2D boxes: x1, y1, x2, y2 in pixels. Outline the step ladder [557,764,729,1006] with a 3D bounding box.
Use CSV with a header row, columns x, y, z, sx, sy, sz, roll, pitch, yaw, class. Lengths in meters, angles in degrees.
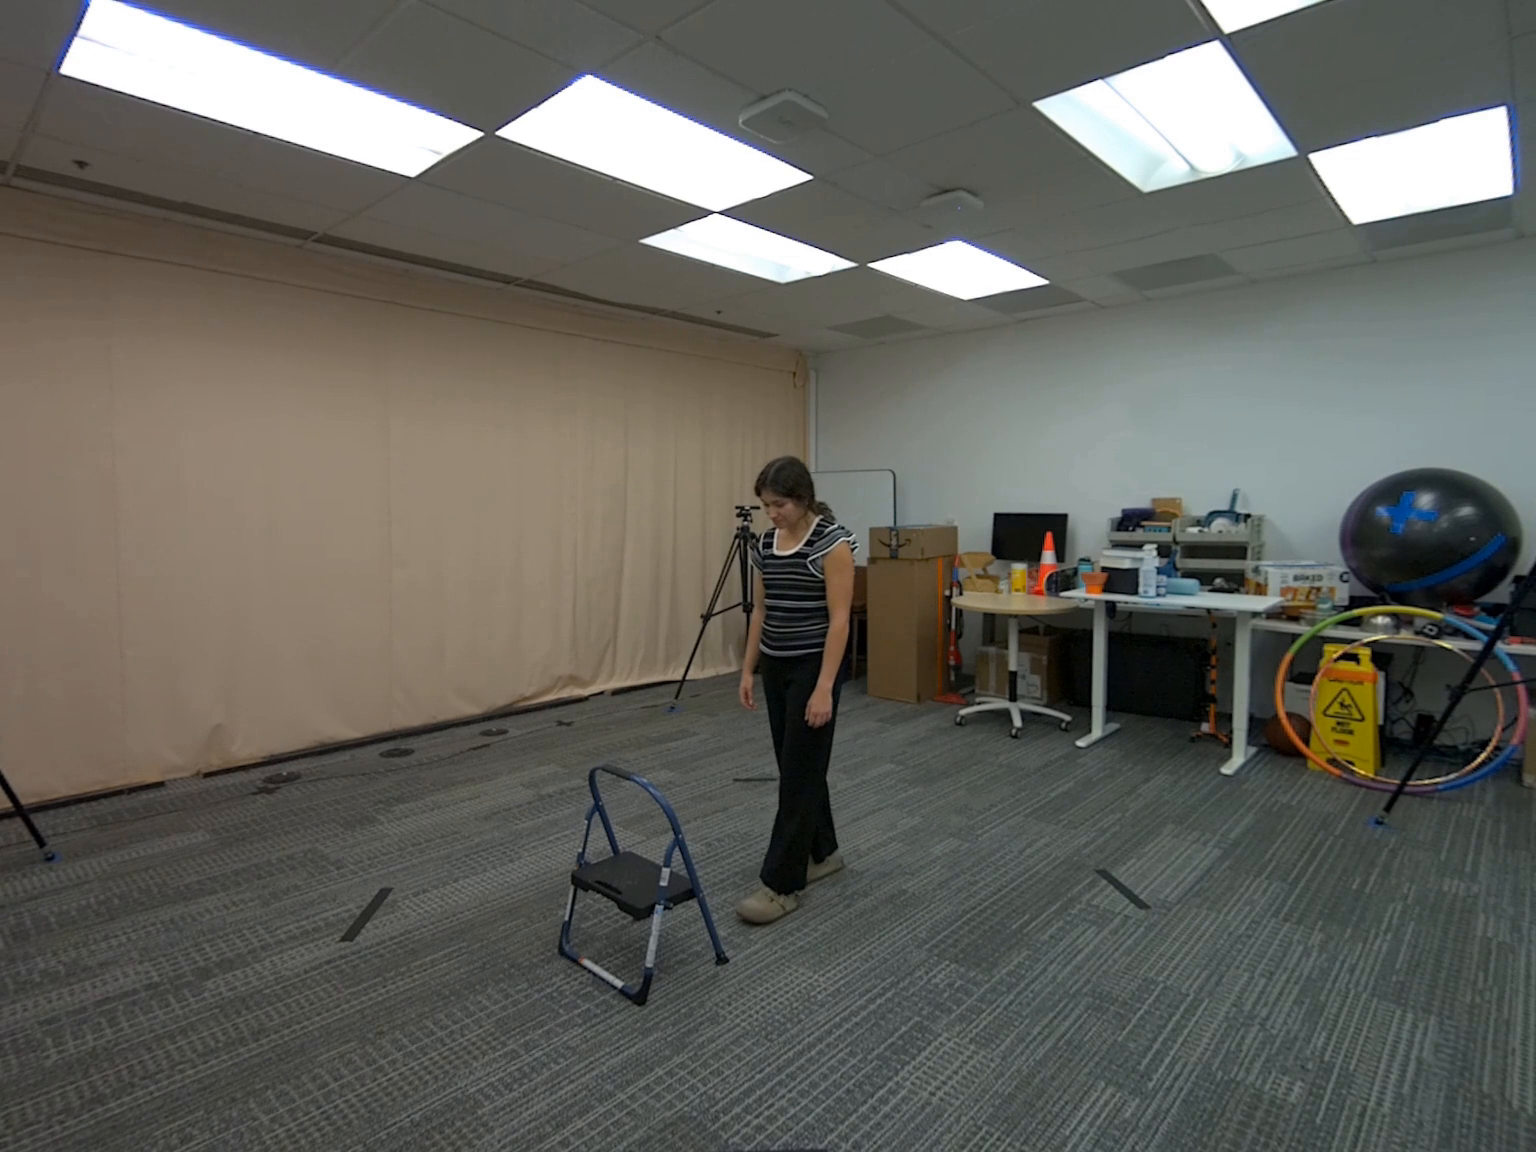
x,y,z,sx,sy,sz,roll,pitch,yaw,class
-0.390,0.878,2.588,0.445,0.605,0.338,3,4,43,step ladder
